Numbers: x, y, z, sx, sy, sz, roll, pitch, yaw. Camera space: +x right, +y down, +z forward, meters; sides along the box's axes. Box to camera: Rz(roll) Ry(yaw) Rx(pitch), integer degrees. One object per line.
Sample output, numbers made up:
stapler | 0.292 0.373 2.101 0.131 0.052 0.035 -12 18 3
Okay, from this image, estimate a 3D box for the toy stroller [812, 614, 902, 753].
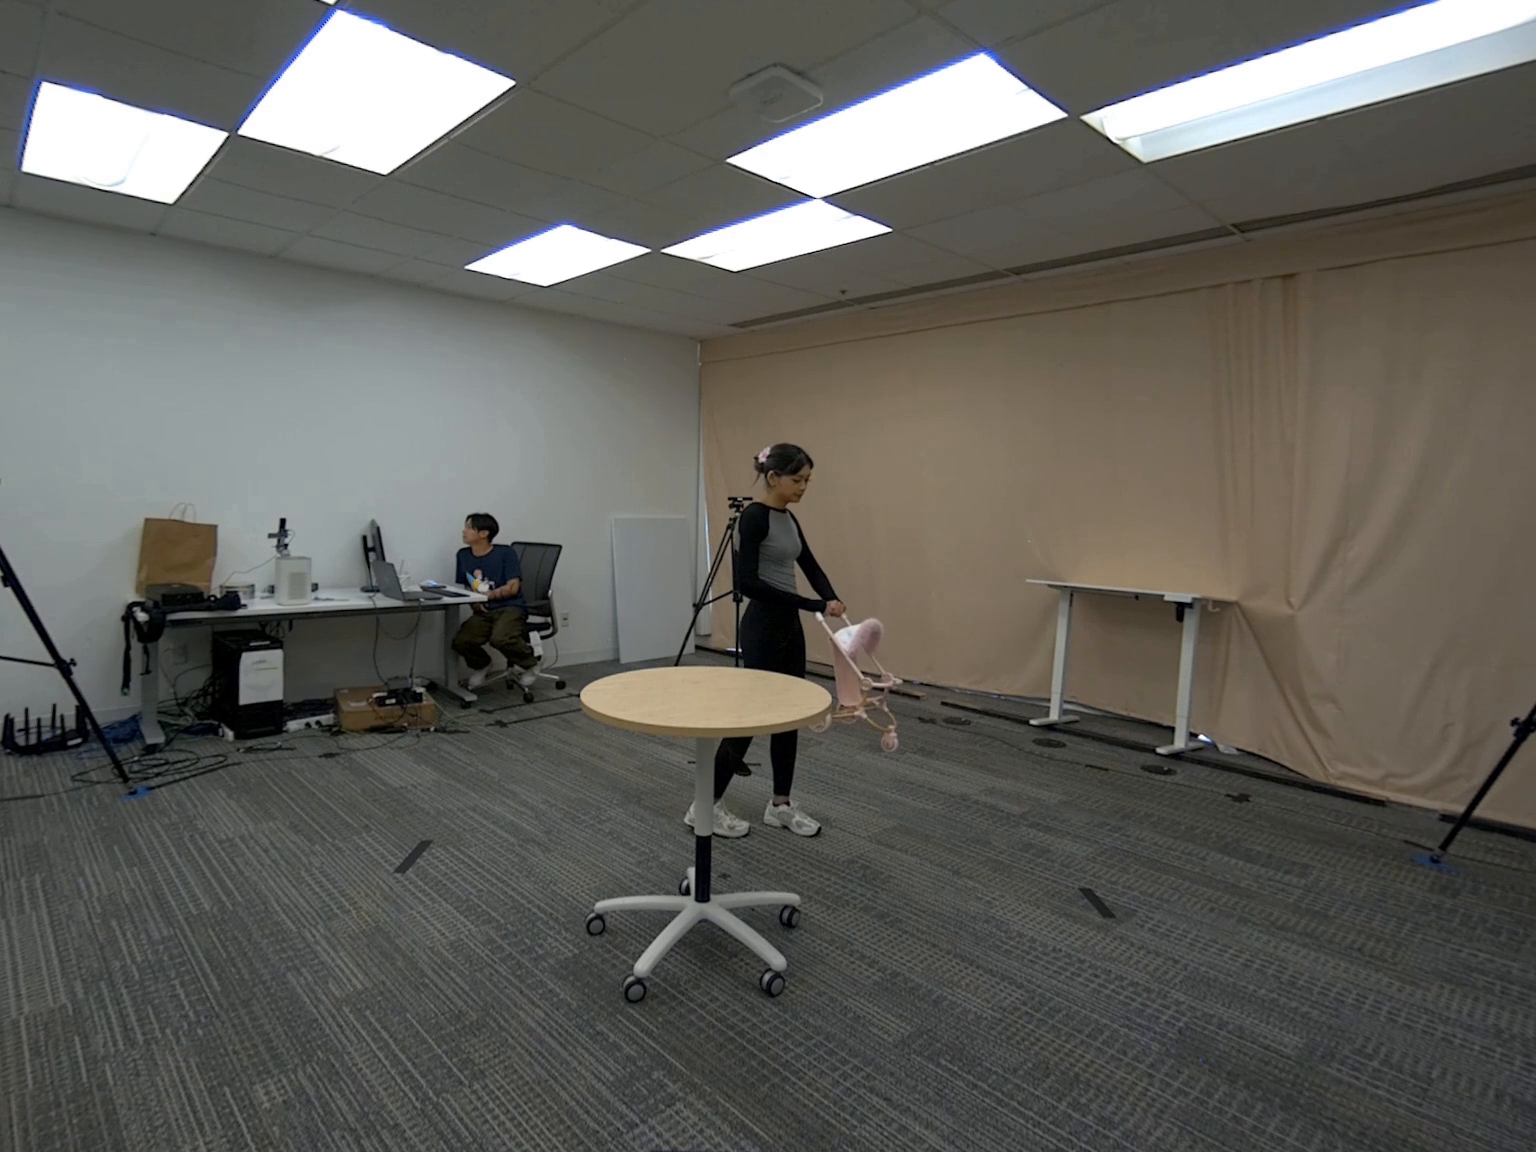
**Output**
toy stroller | 0.348 0.398 3.261 0.349 0.535 0.274 1 -2 38
